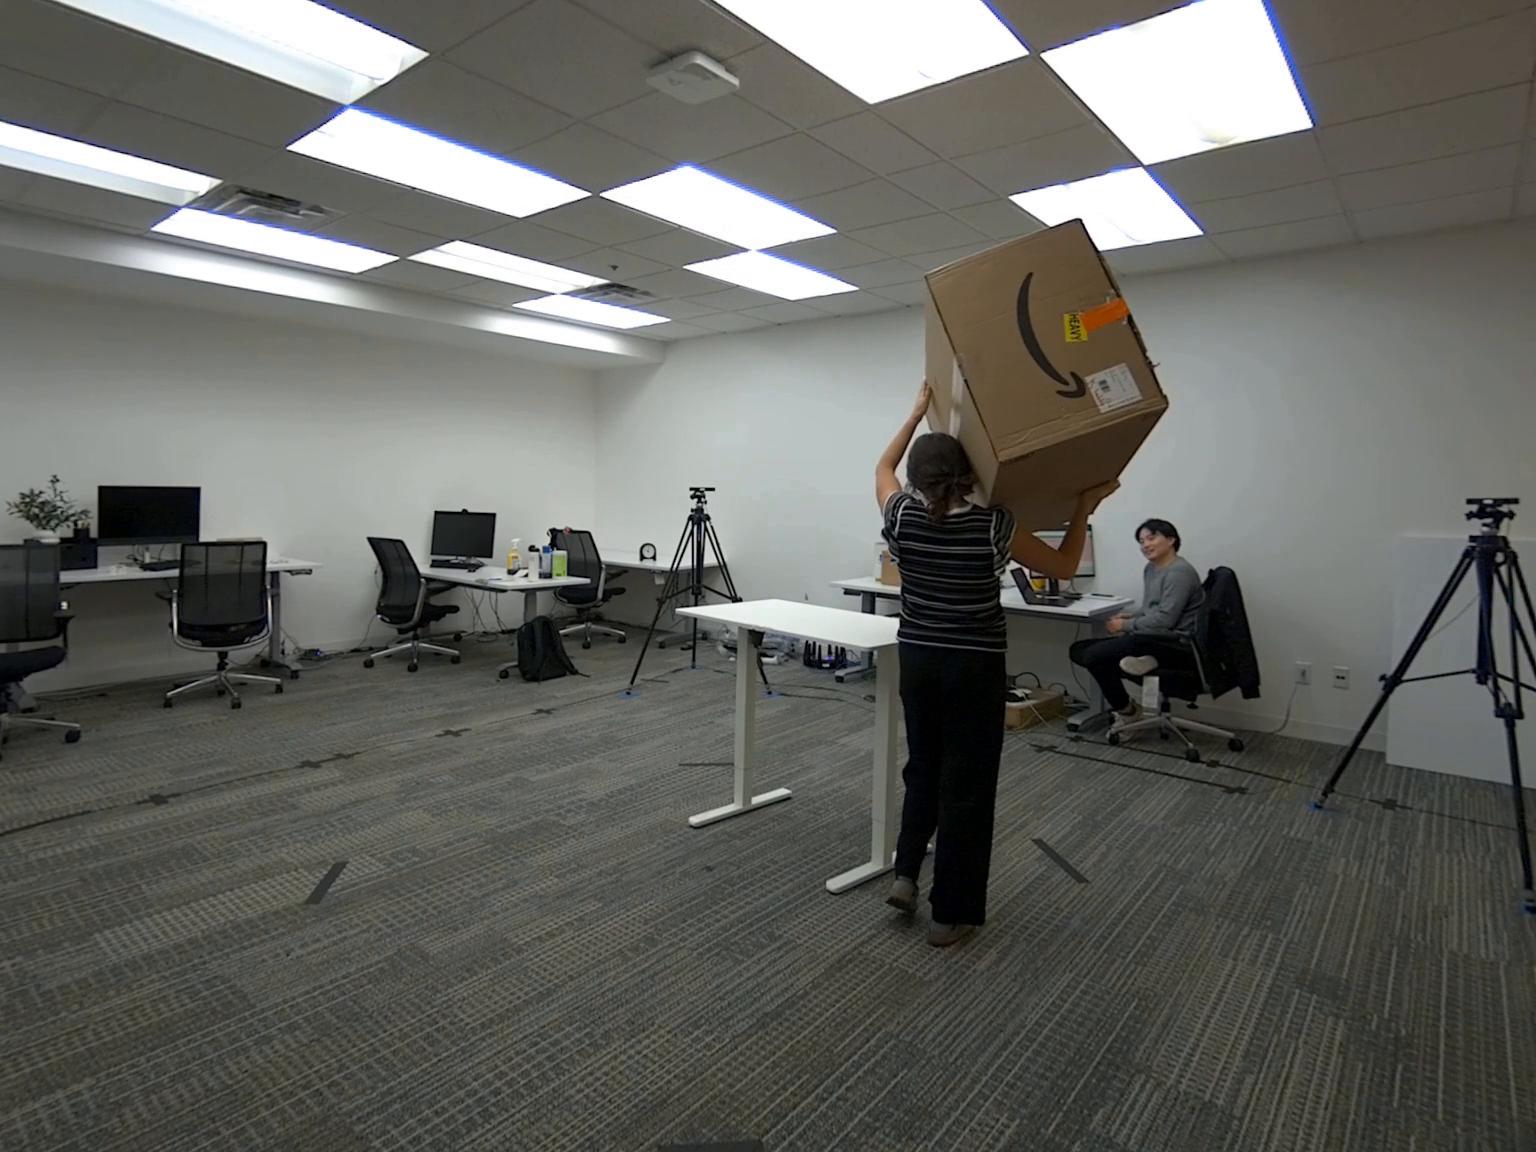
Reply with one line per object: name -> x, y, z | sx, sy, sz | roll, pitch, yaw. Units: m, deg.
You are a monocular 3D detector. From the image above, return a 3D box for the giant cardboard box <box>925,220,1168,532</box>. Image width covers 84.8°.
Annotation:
giant cardboard box -> 0.781, -0.521, 2.660 | 0.429, 0.588, 1.001 | -19, -14, 8
